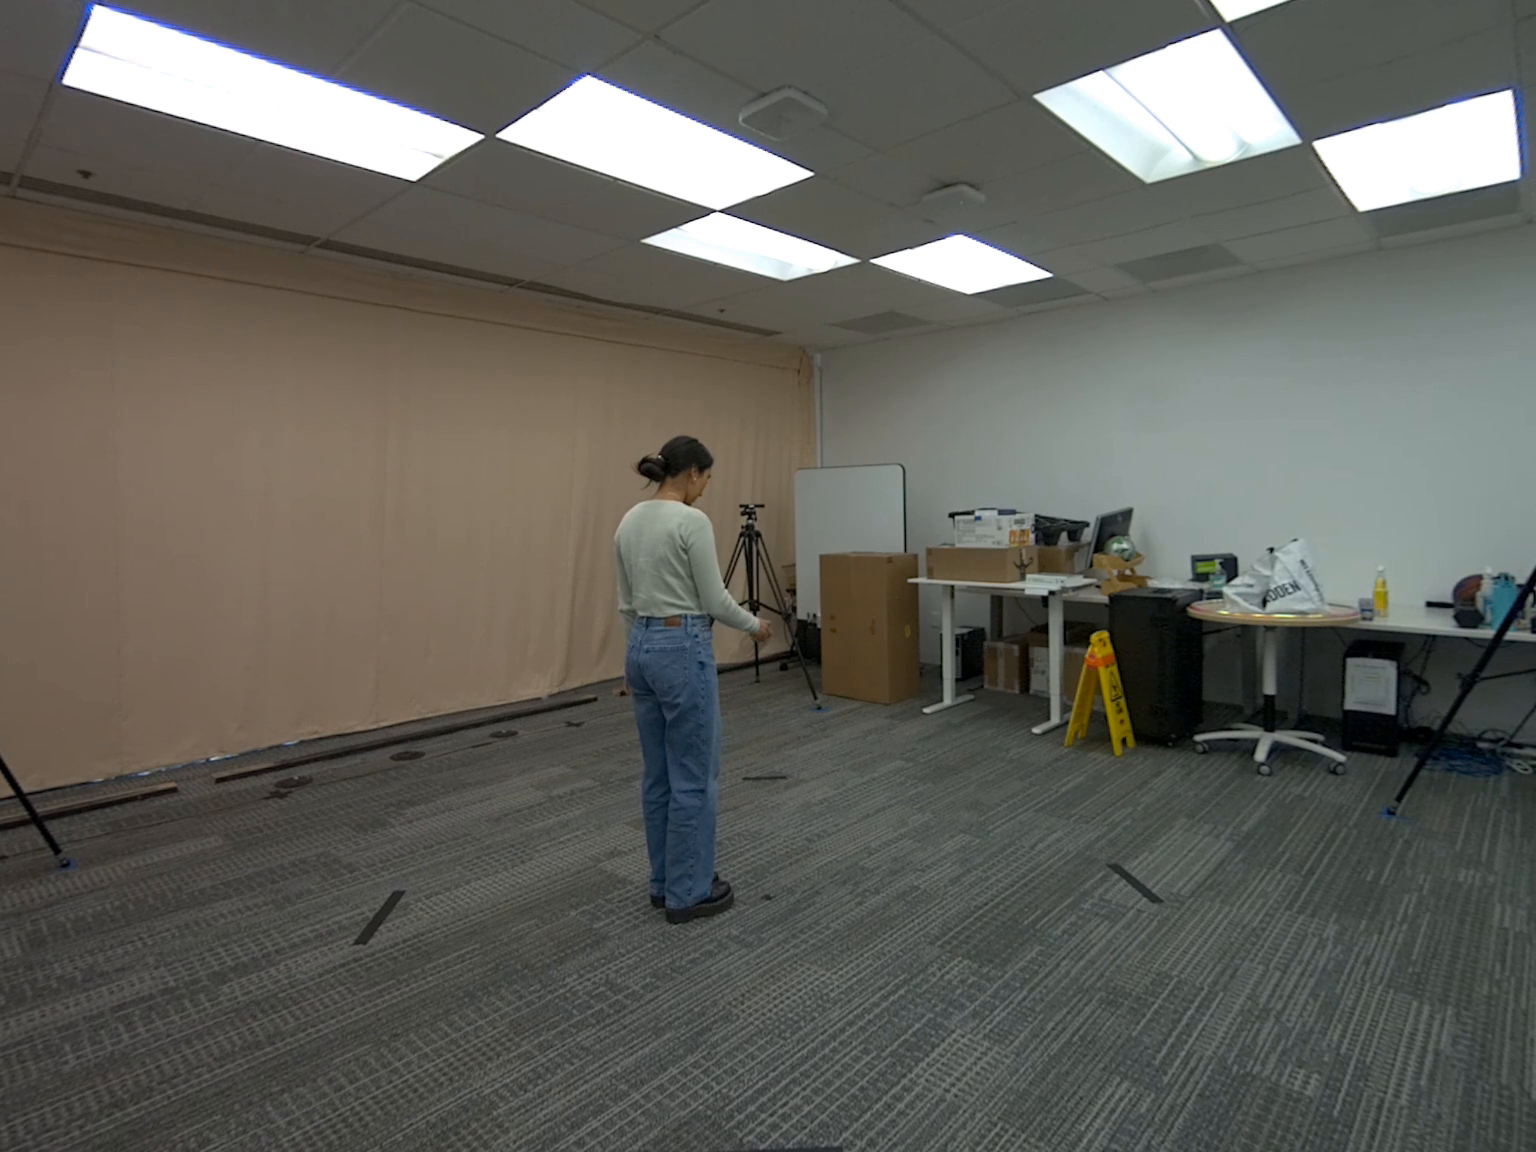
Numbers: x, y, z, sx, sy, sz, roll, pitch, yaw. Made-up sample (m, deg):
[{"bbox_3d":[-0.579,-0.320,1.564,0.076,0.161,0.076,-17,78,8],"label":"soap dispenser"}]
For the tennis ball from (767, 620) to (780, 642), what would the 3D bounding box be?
[{"bbox_3d":[0.005,0.199,3.071,0.066,0.066,0.067,-1,4,-2],"label":"tennis ball"}]
